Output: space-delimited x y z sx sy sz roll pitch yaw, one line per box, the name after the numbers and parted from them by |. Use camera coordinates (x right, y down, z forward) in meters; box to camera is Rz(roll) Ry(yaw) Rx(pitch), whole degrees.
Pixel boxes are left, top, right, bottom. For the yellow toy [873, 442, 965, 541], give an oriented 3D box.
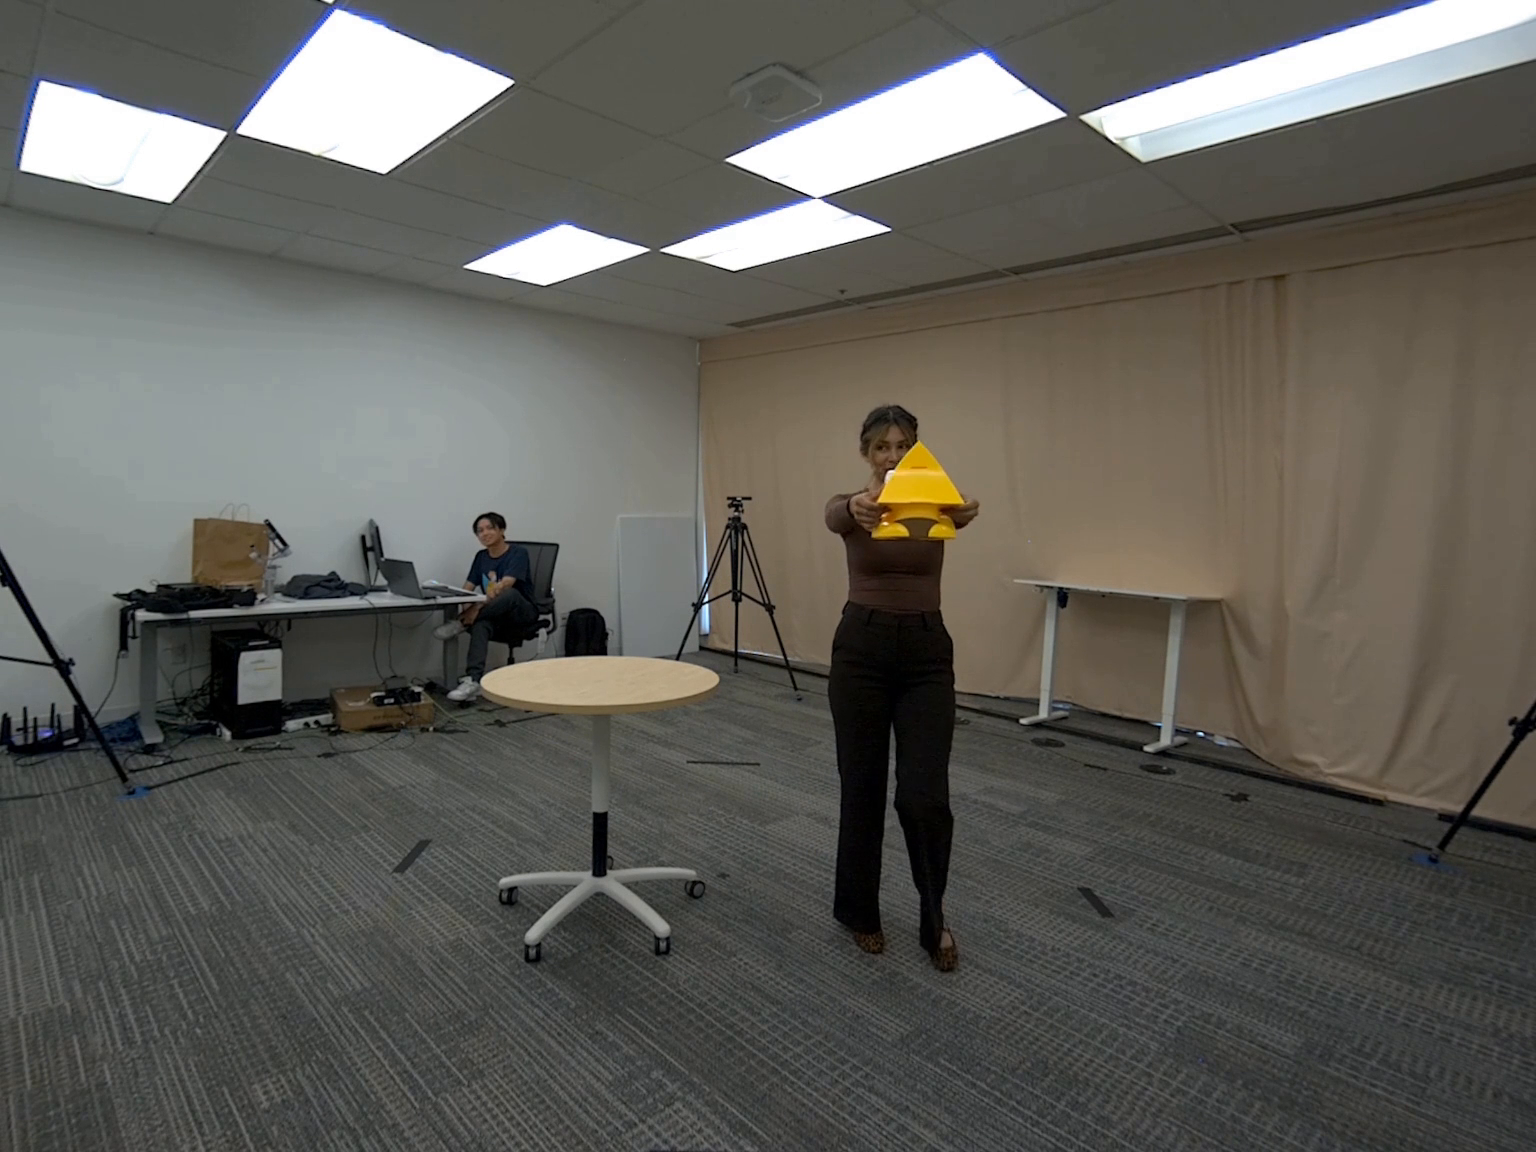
0.347 -0.206 2.070 0.205 0.231 0.193 0 -1 0 | yellow toy
